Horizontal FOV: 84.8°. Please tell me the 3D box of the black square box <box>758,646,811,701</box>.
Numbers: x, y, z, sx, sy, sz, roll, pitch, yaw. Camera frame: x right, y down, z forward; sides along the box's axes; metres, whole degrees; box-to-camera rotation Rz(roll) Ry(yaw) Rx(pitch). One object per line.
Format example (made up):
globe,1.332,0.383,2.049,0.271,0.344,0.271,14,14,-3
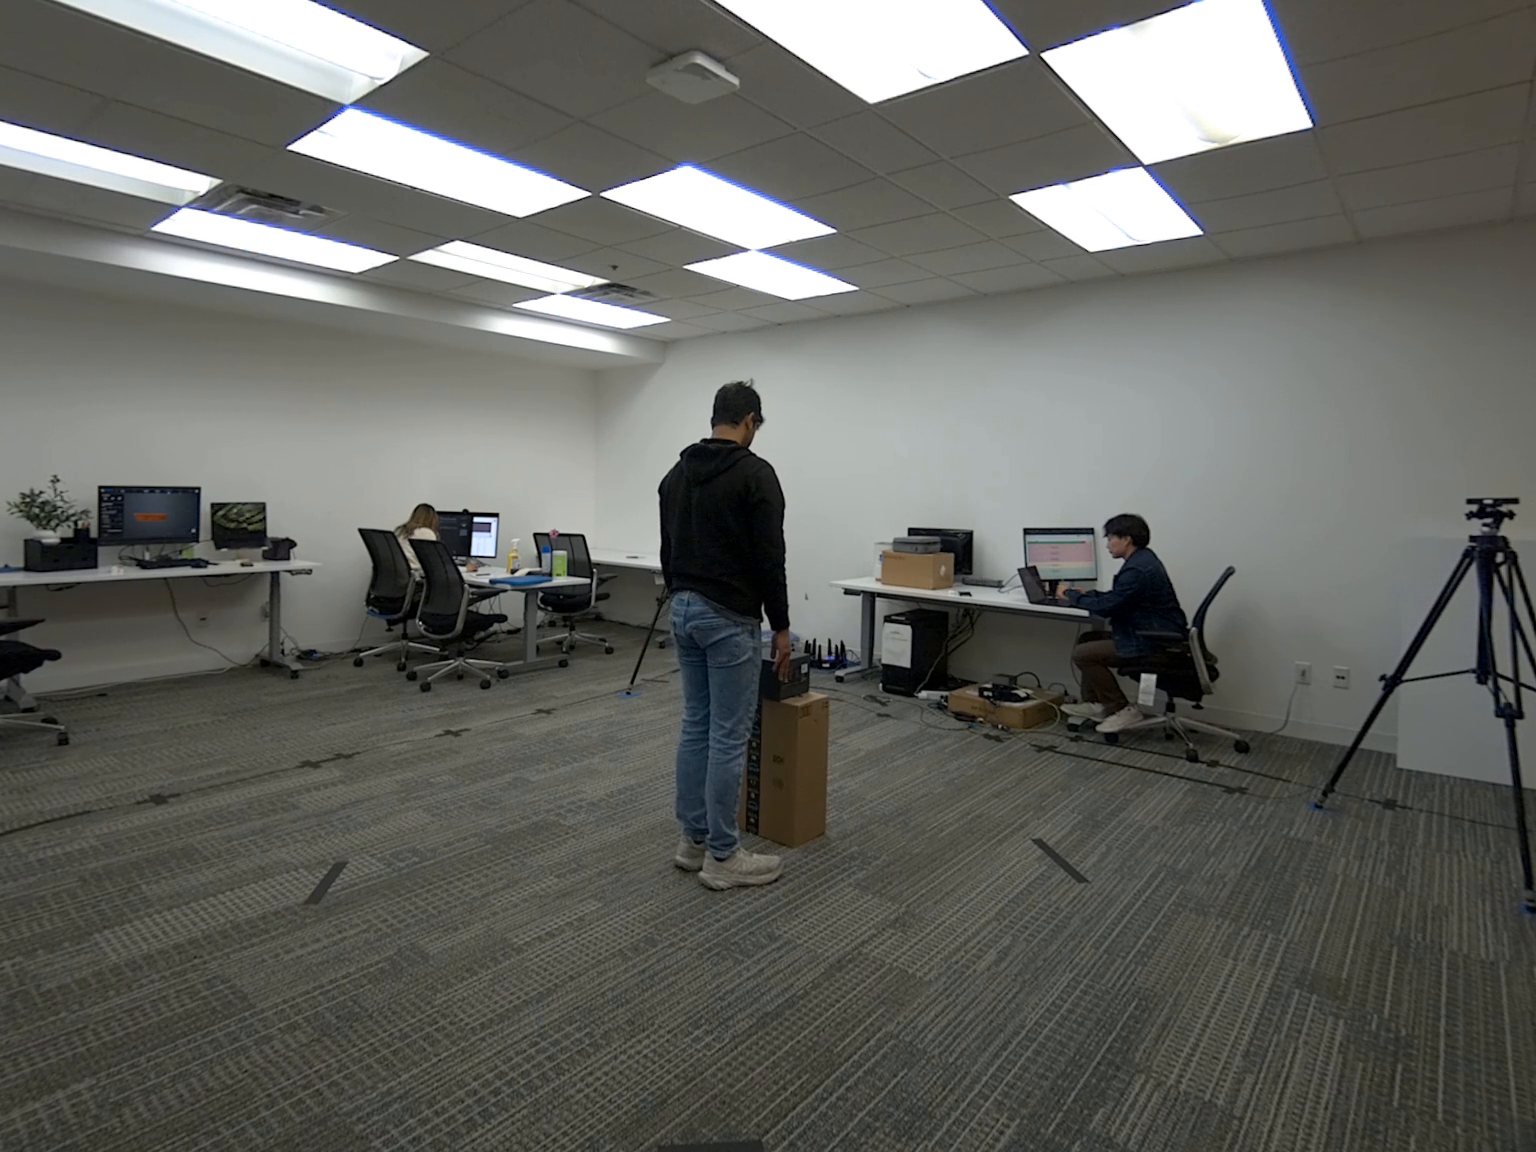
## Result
black square box,0.010,0.391,3.464,0.235,0.155,0.211,5,7,38
